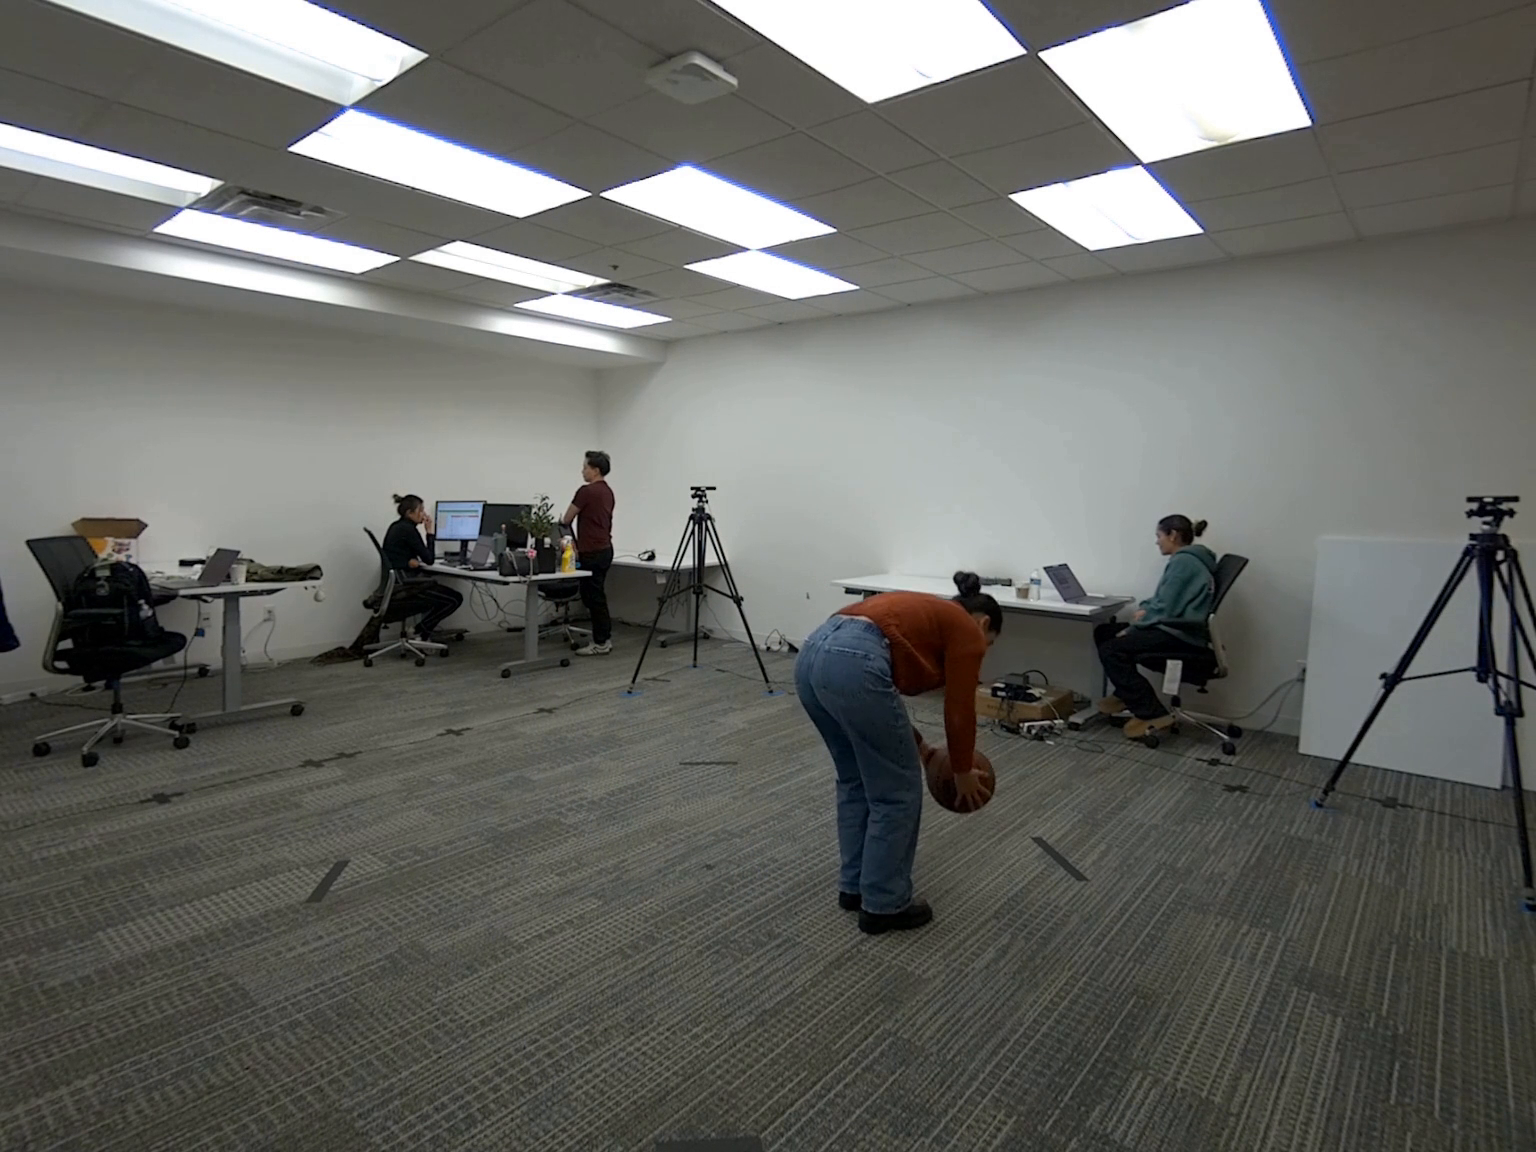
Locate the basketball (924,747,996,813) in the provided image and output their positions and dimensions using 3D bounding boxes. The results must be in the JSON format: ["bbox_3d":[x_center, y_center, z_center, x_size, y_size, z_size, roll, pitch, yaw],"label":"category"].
[{"bbox_3d":[0.670,0.698,3.012,0.236,0.235,0.237,1,4,-2],"label":"basketball"}]
